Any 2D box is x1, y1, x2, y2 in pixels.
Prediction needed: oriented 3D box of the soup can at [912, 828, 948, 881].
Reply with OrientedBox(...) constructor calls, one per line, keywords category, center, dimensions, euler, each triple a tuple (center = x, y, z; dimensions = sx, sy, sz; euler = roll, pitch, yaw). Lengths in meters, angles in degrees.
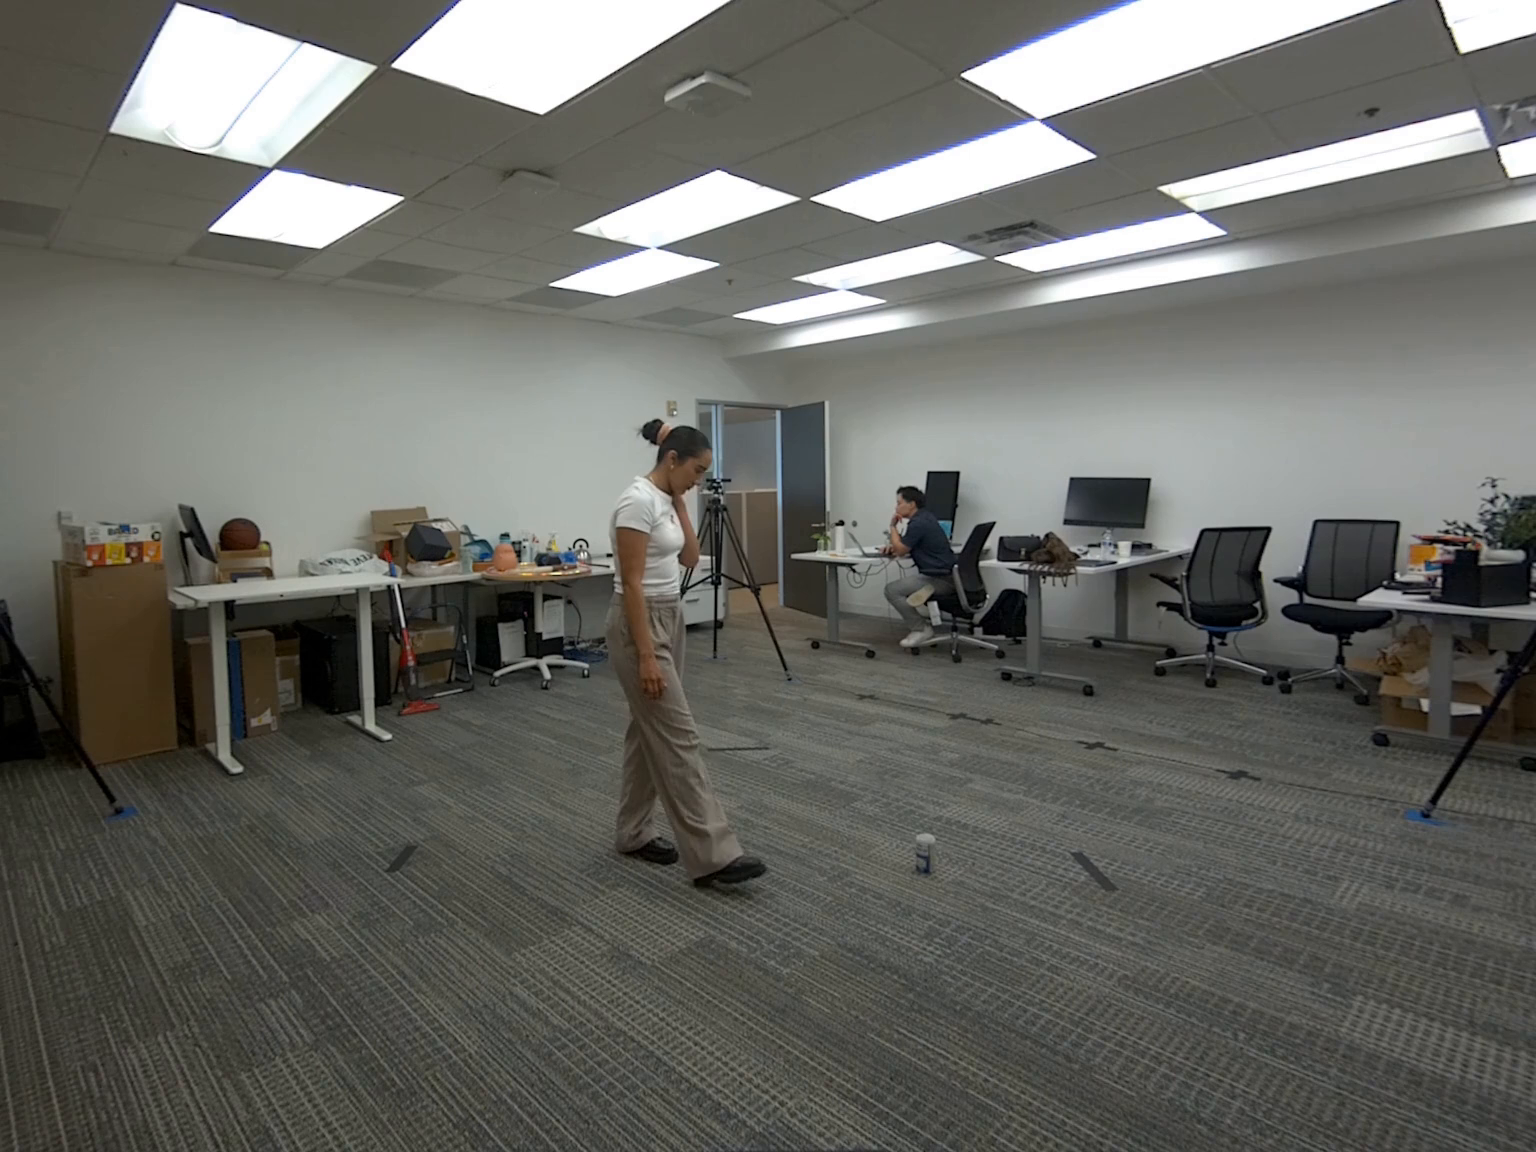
OrientedBox(category="soup can", center=(0.556, 0.972, 3.018), dimensions=(0.067, 0.122, 0.067), euler=(8, -2, -2))
